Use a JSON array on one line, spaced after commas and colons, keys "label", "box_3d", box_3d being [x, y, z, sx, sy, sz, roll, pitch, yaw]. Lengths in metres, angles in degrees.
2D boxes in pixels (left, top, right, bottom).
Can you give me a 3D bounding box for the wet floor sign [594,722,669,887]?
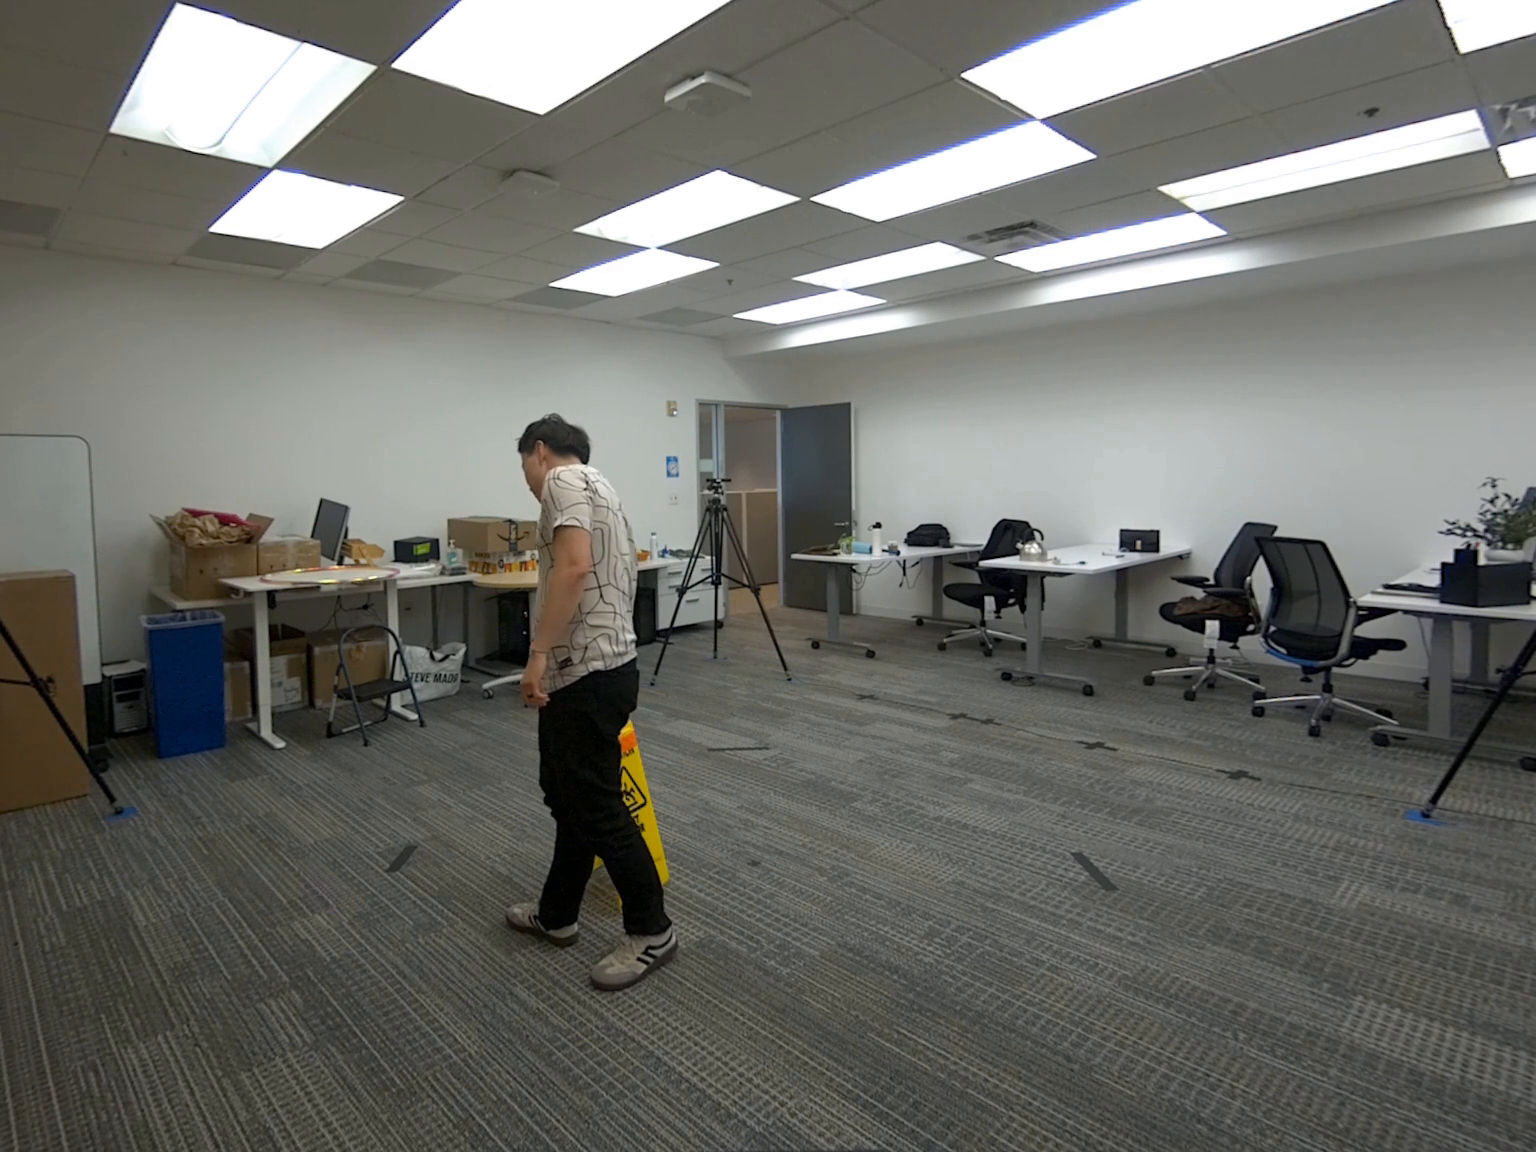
[{"label": "wet floor sign", "box_3d": [-0.537, 0.753, 2.915, 0.297, 0.643, 0.276, 2, 6, 27]}]
